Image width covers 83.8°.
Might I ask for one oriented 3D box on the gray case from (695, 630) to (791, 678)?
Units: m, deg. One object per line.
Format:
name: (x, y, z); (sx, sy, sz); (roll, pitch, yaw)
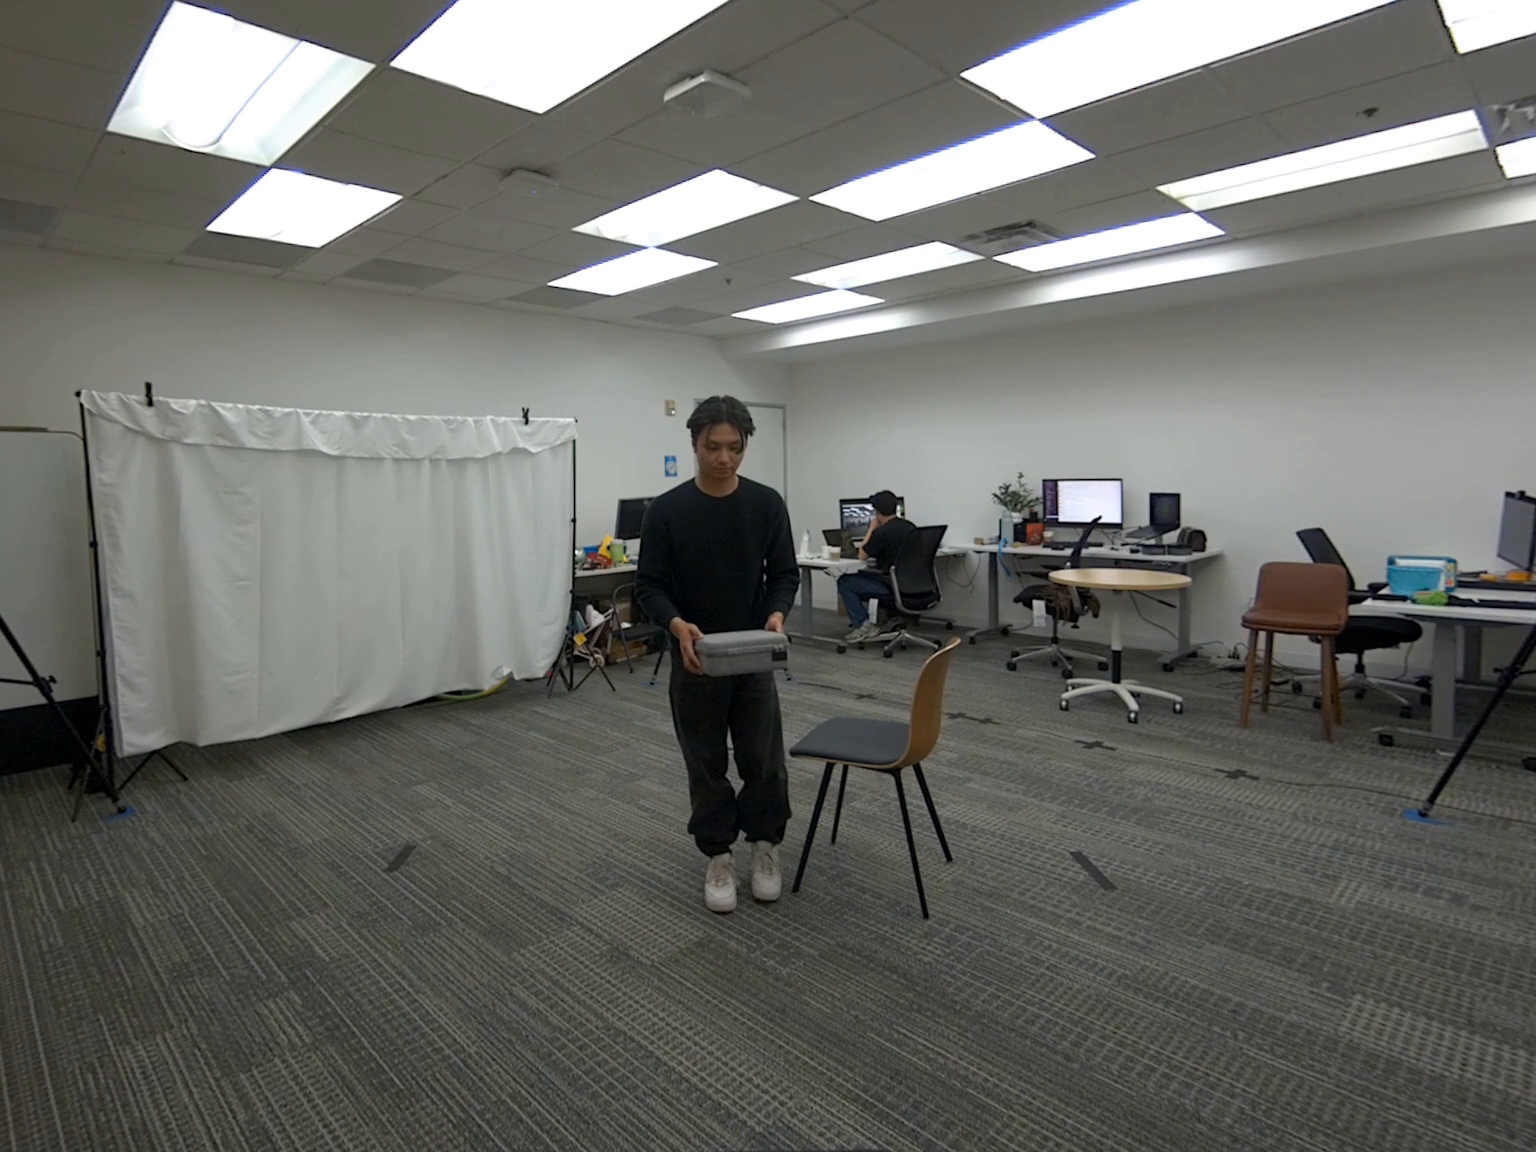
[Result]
gray case: (-0.092, 0.228, 2.566); (0.254, 0.104, 0.264); (-4, 1, -14)
